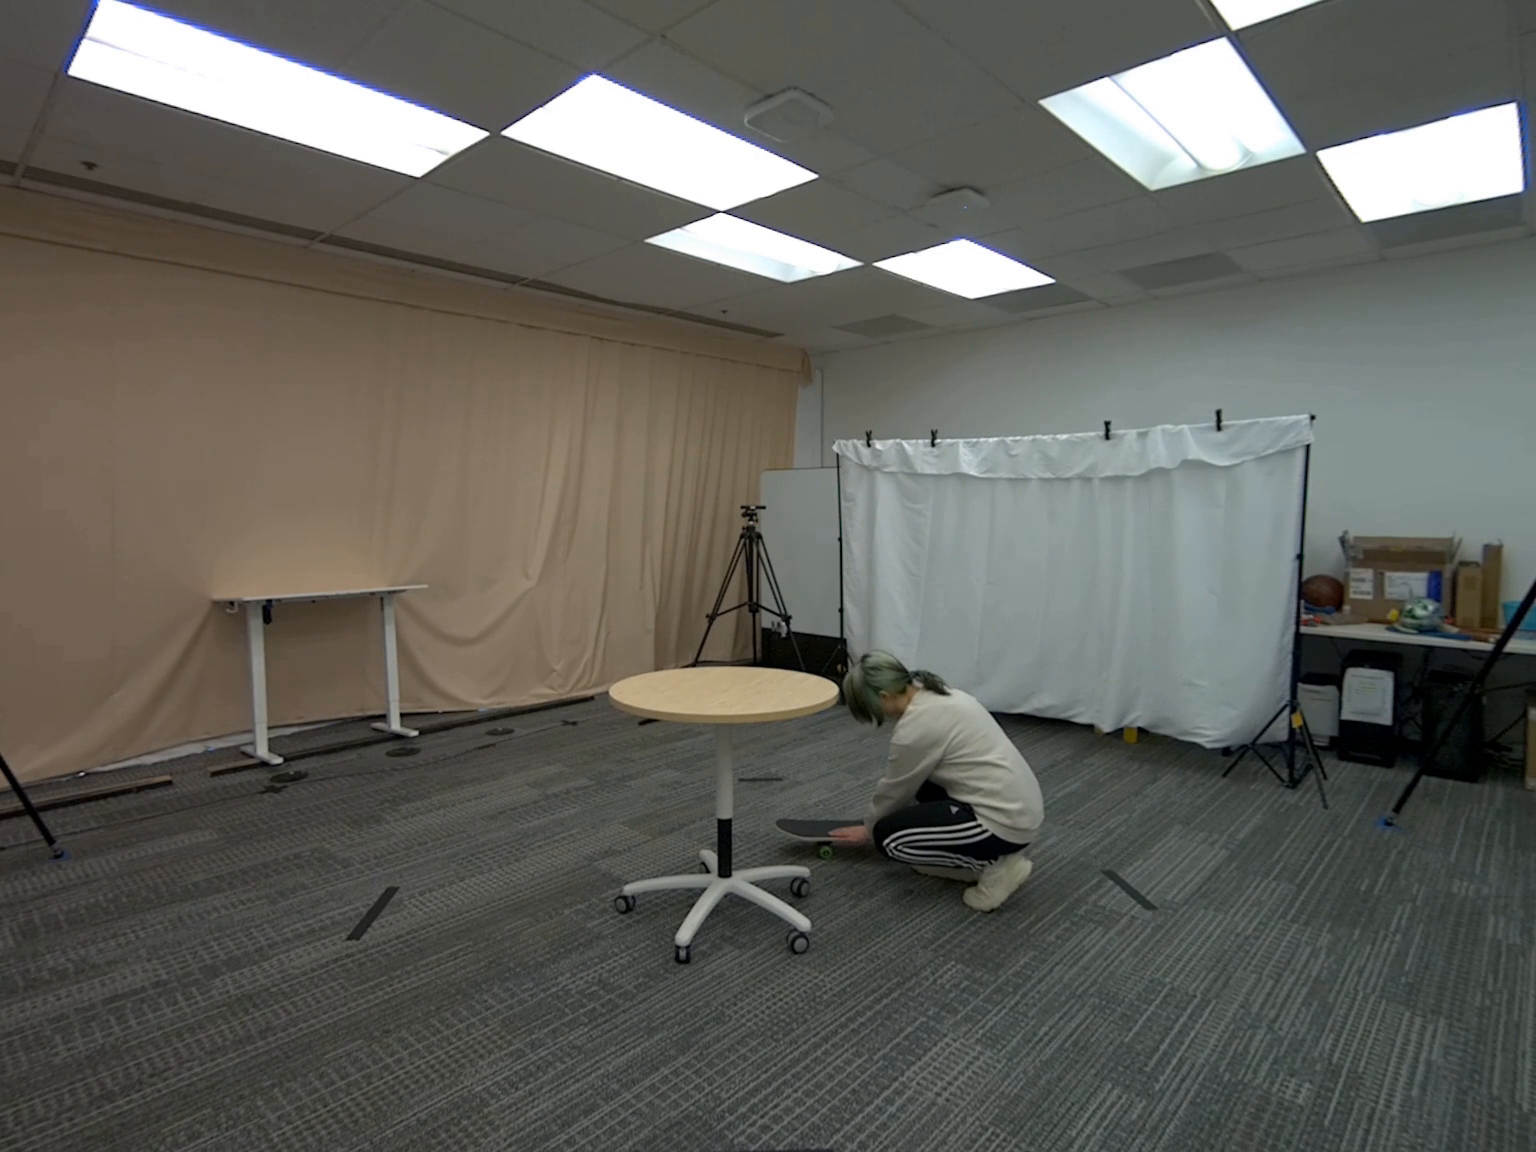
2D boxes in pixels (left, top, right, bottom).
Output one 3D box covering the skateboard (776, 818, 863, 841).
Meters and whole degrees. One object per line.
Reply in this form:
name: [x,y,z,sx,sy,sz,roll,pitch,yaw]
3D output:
skateboard: [0.413,1.049,3.386,0.785,0.110,0.194,0,5,-1]
